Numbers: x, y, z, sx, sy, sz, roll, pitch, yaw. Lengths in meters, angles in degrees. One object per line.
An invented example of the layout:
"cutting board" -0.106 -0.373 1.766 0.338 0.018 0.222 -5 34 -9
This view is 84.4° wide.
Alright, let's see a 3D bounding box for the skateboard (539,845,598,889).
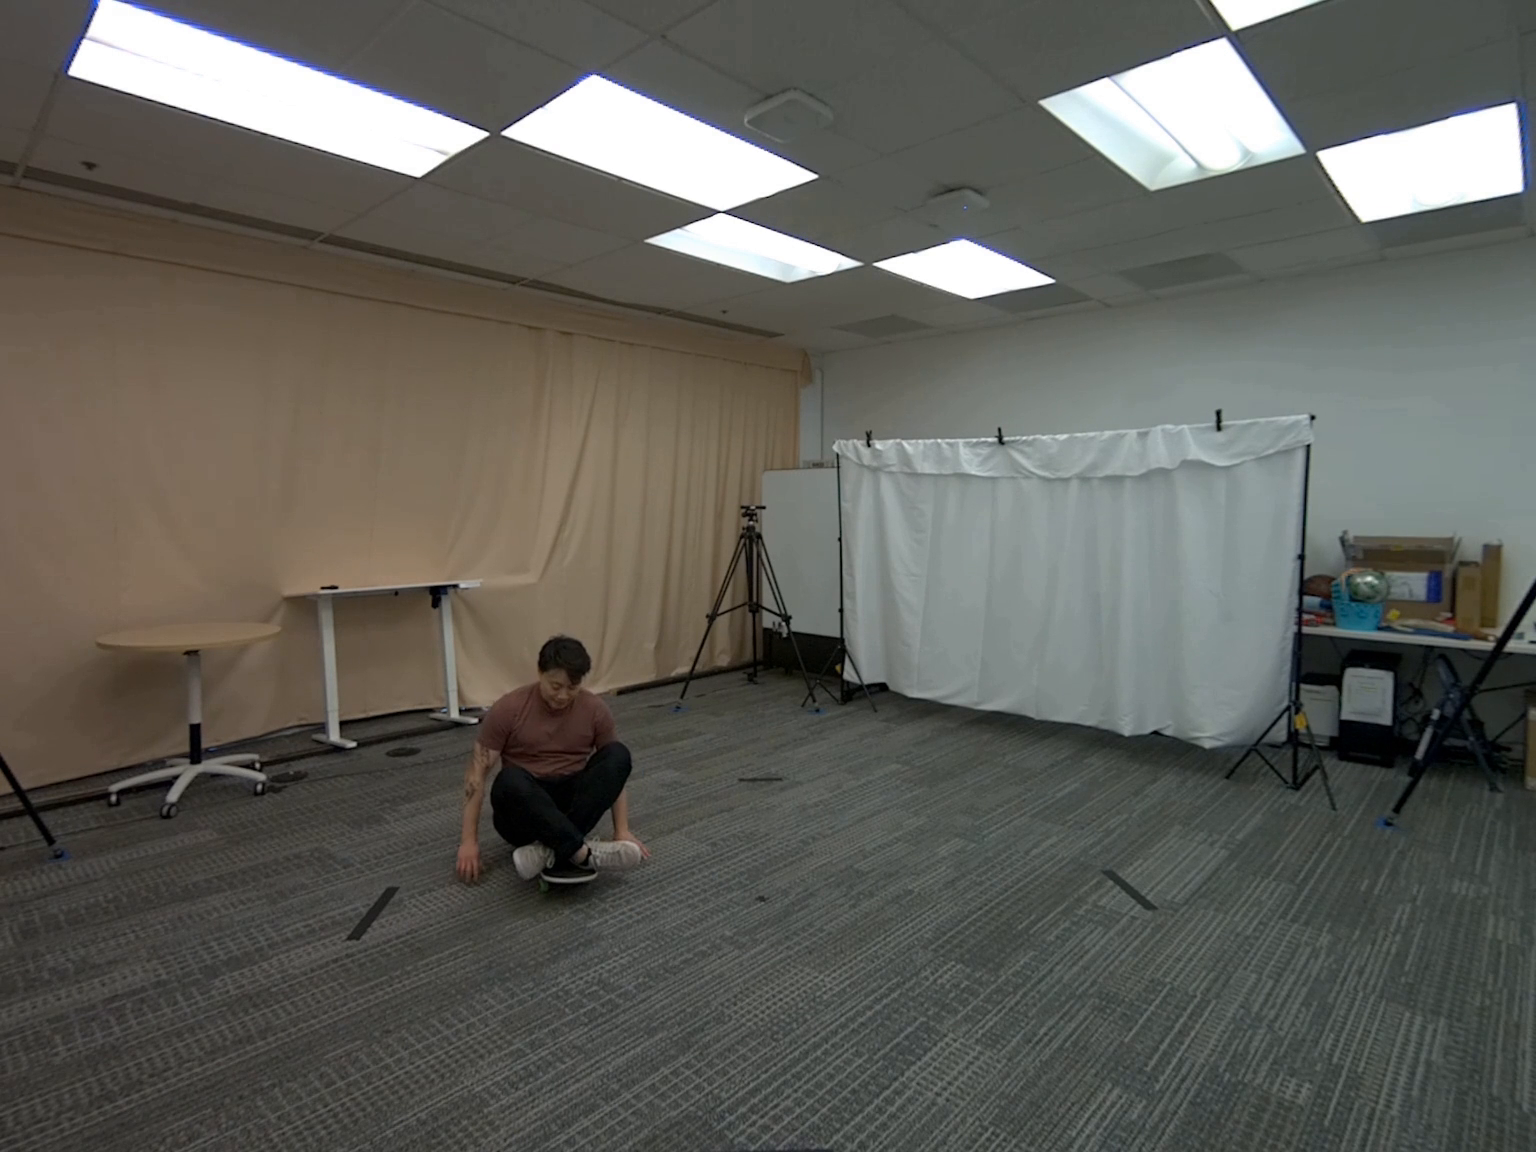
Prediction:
"skateboard" -0.834 1.073 3.262 0.188 0.110 0.808 1 2 -31
